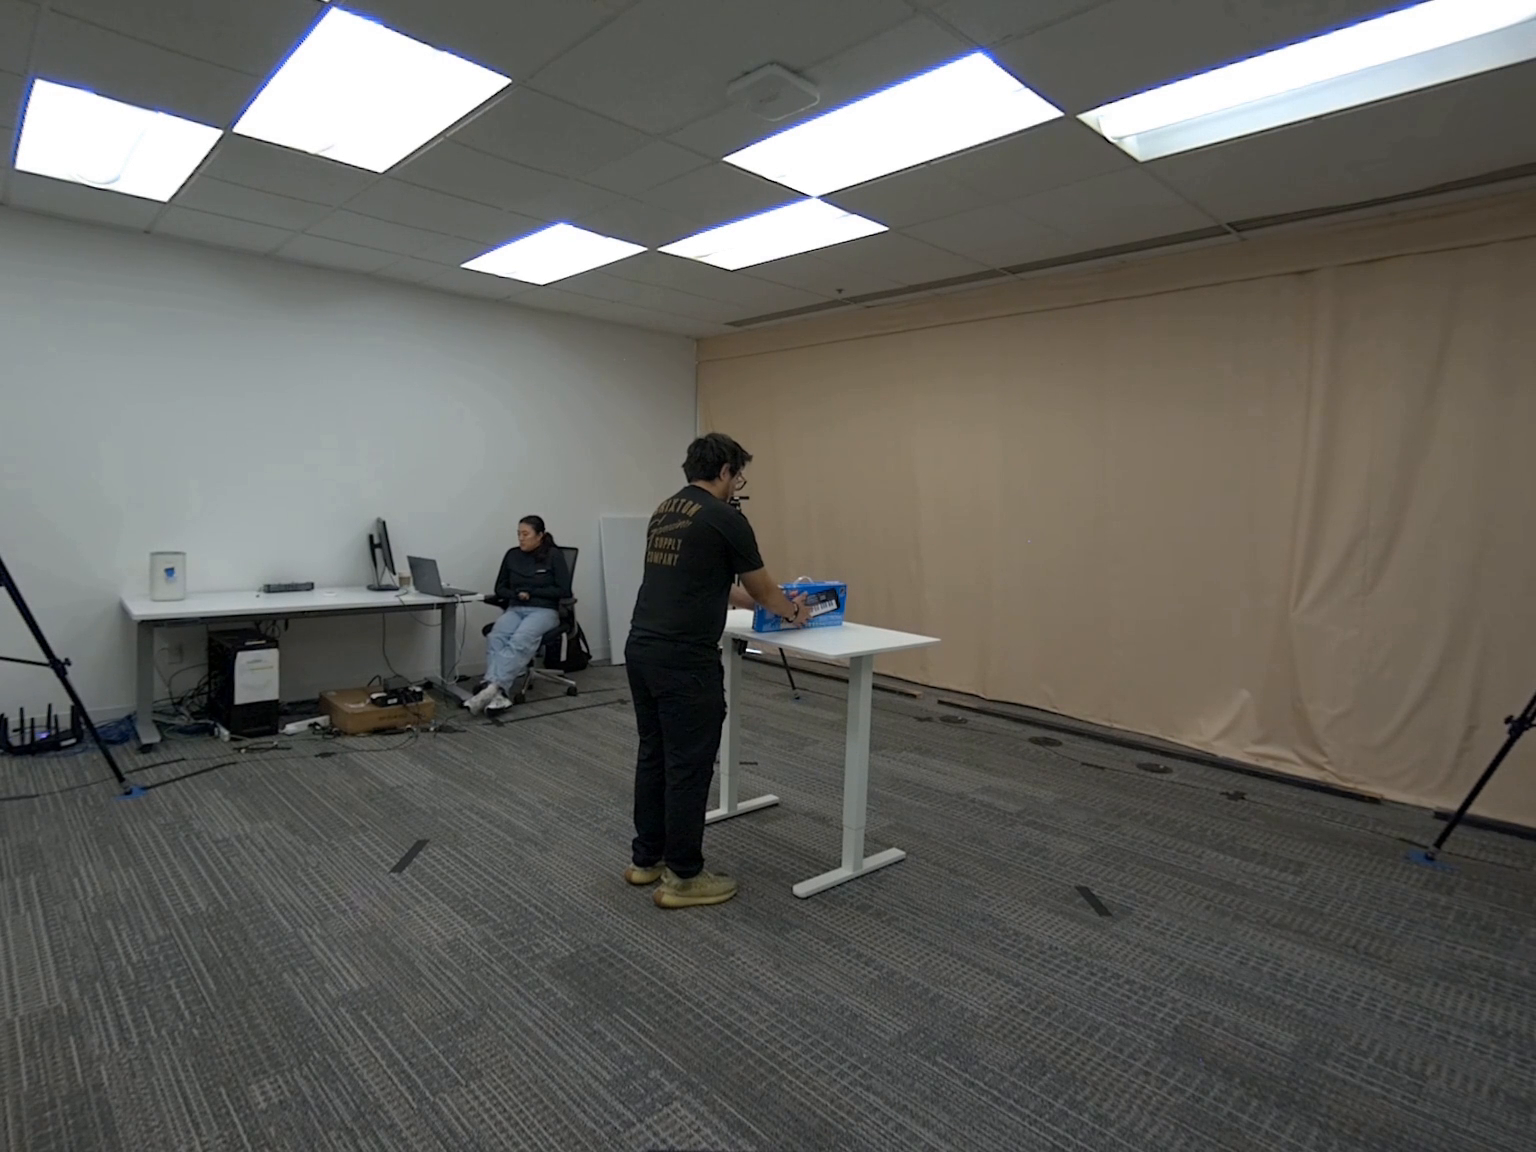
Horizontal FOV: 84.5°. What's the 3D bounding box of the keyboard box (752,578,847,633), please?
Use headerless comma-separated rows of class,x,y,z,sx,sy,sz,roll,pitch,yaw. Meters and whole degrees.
keyboard box,0.129,0.123,3.325,0.427,0.175,0.061,-3,13,-40
